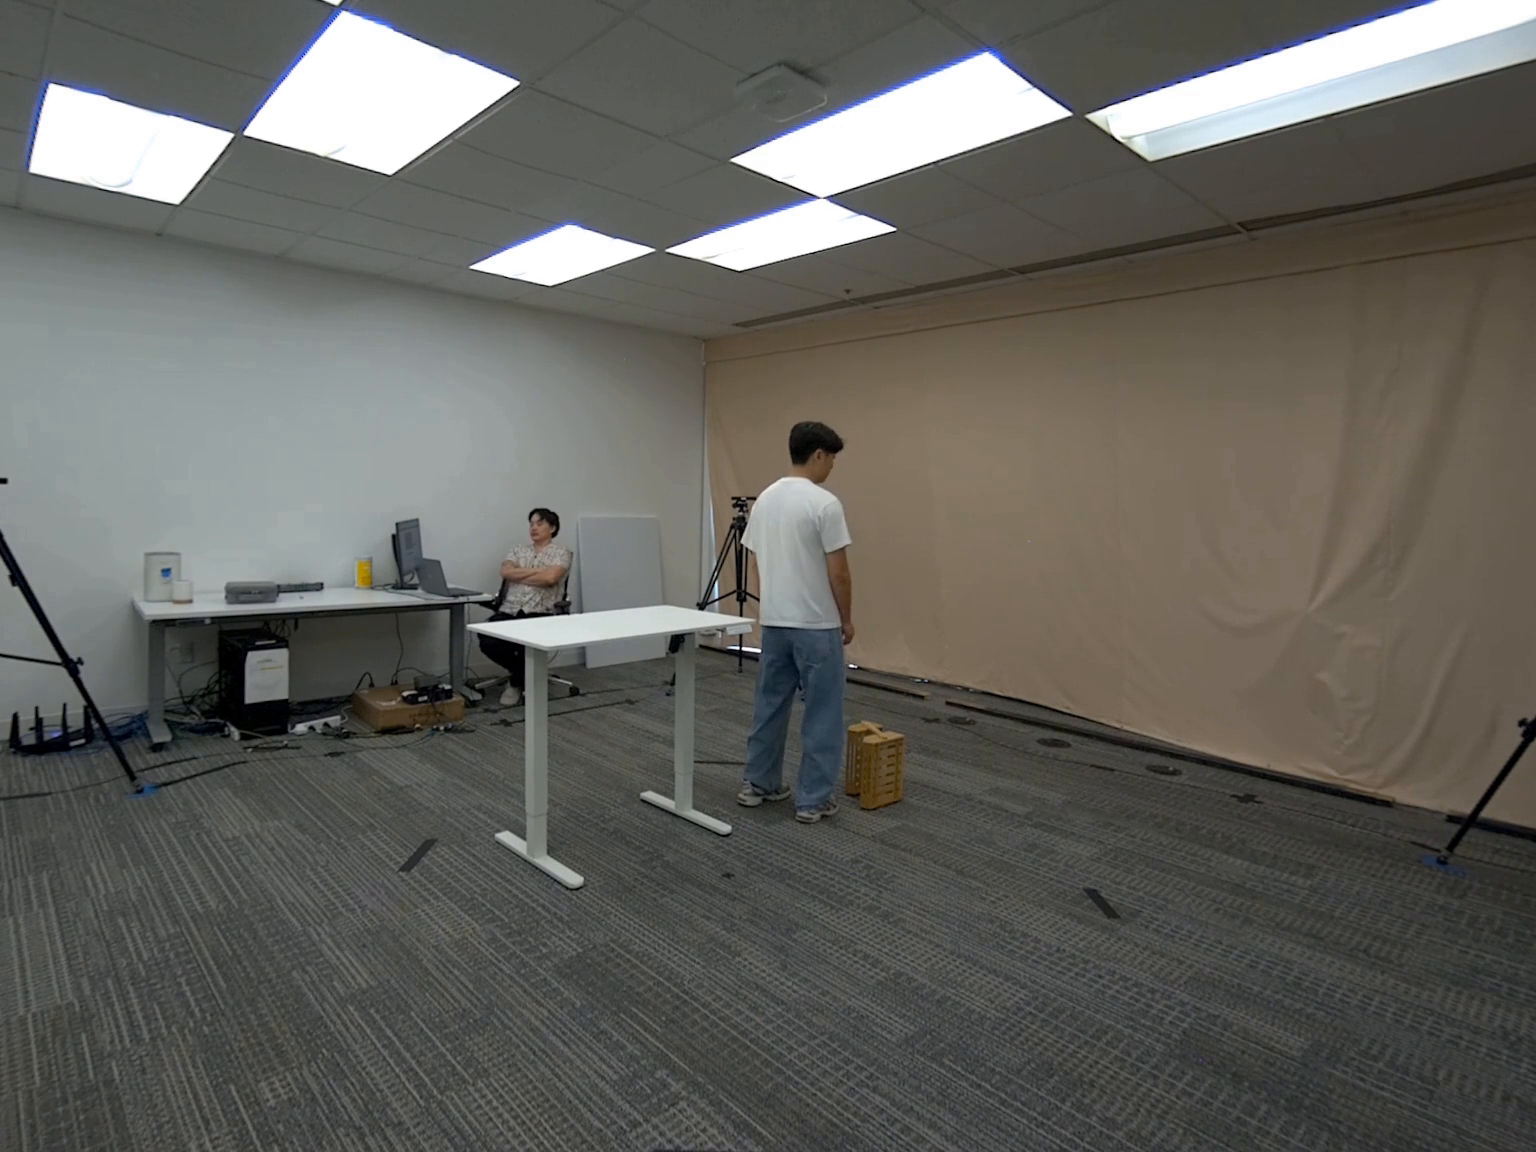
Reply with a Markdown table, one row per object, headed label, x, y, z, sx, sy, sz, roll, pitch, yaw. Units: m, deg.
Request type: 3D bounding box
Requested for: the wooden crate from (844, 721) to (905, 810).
| label | x | y | z | sx | sy | sz | roll | pitch | yaw |
| --- | --- | --- | --- | --- | --- | --- | --- | --- | --- |
| wooden crate | 0.456 | 0.882 | 3.978 | 0.295 | 0.324 | 0.280 | -1 | 5 | -42 |
